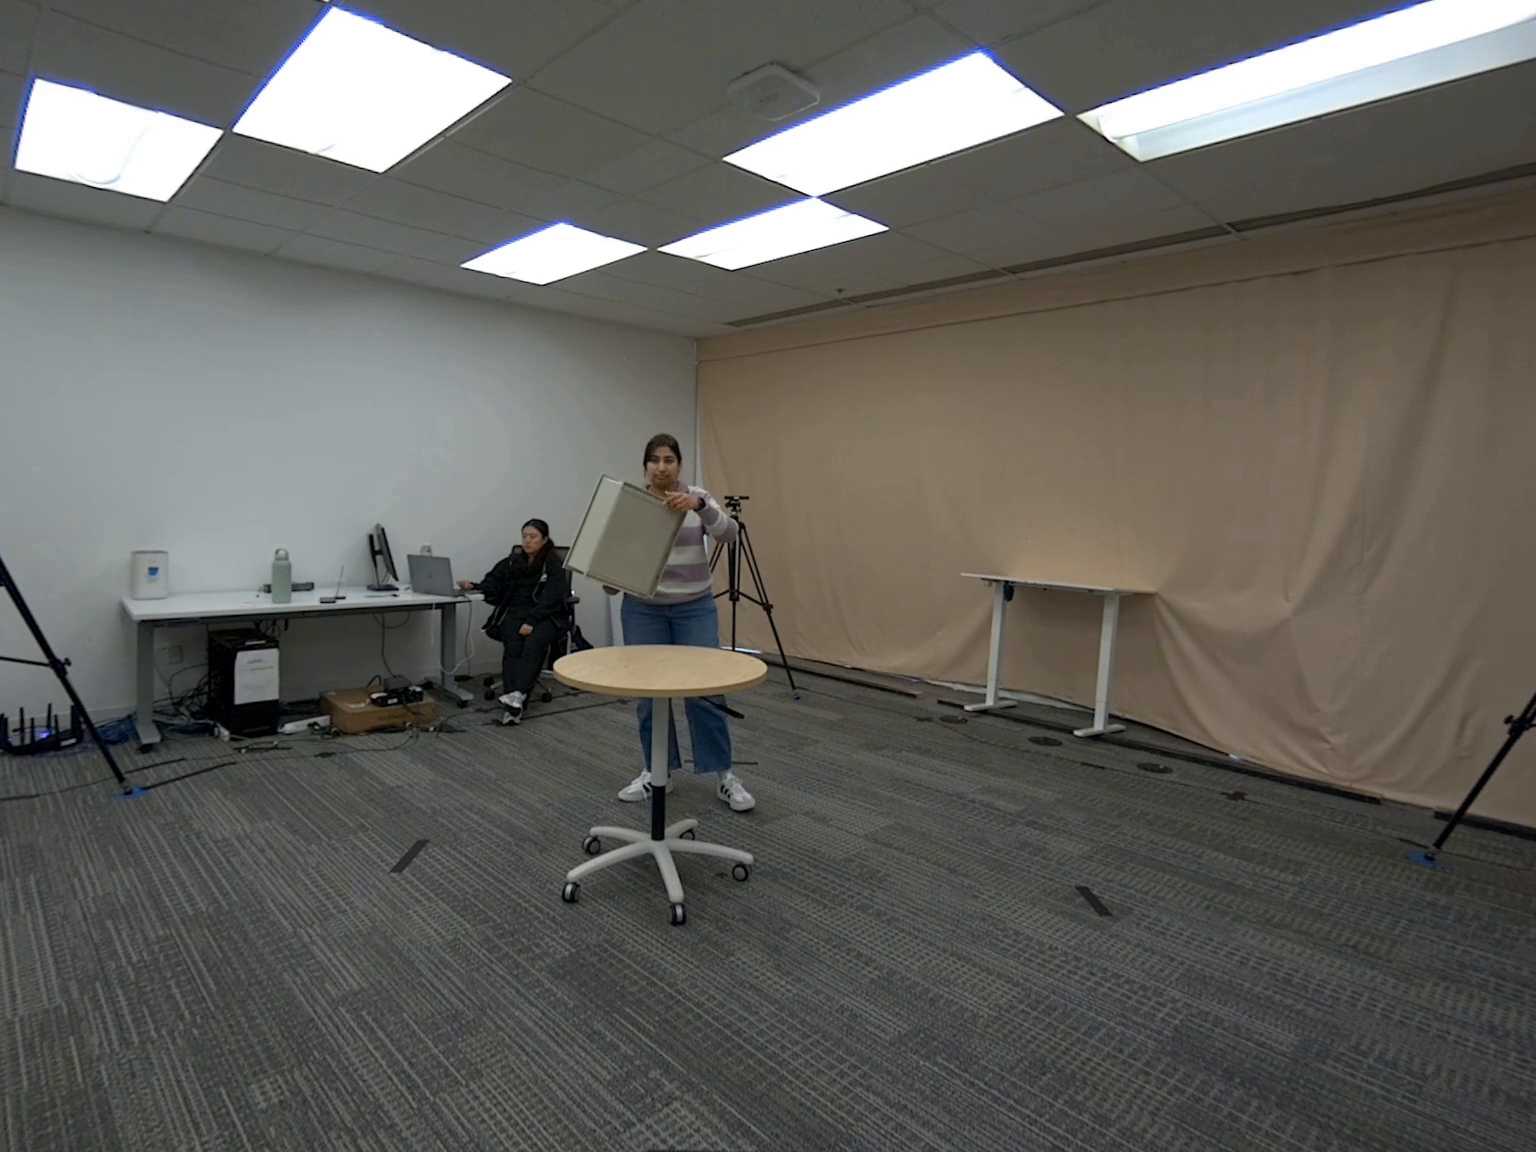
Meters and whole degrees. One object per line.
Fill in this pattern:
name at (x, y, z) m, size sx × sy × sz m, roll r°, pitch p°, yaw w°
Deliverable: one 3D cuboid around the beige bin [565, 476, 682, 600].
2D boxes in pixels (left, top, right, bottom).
beige bin at (-0.589, -0.154, 3.493) m, size 0.366 × 0.423 × 0.194 m, roll 24°, pitch -4°, yaw -40°
